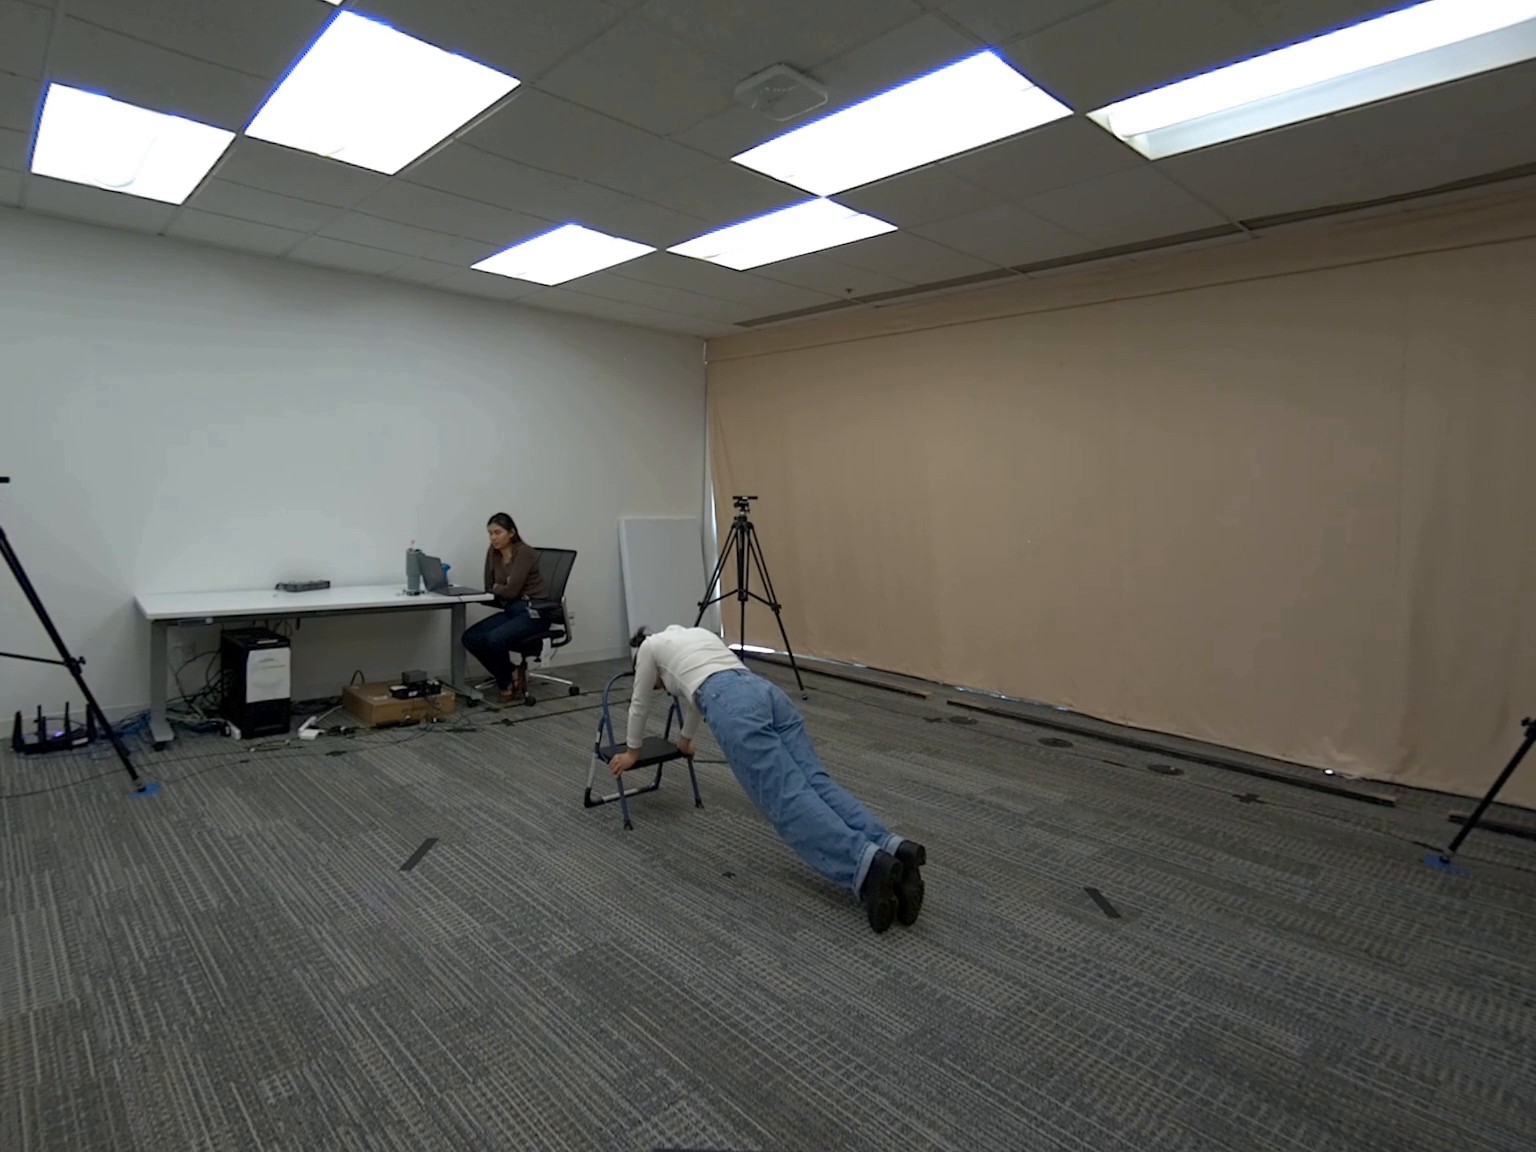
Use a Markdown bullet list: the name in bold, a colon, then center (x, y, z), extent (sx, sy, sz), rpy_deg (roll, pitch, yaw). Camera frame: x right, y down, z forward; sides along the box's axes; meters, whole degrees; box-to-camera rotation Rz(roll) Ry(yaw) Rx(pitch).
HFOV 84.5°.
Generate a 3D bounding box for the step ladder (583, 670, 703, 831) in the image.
- **step ladder**: center (-0.559, 0.737, 3.755), extent (0.358, 0.605, 0.421), rpy_deg (5, 5, 45)
